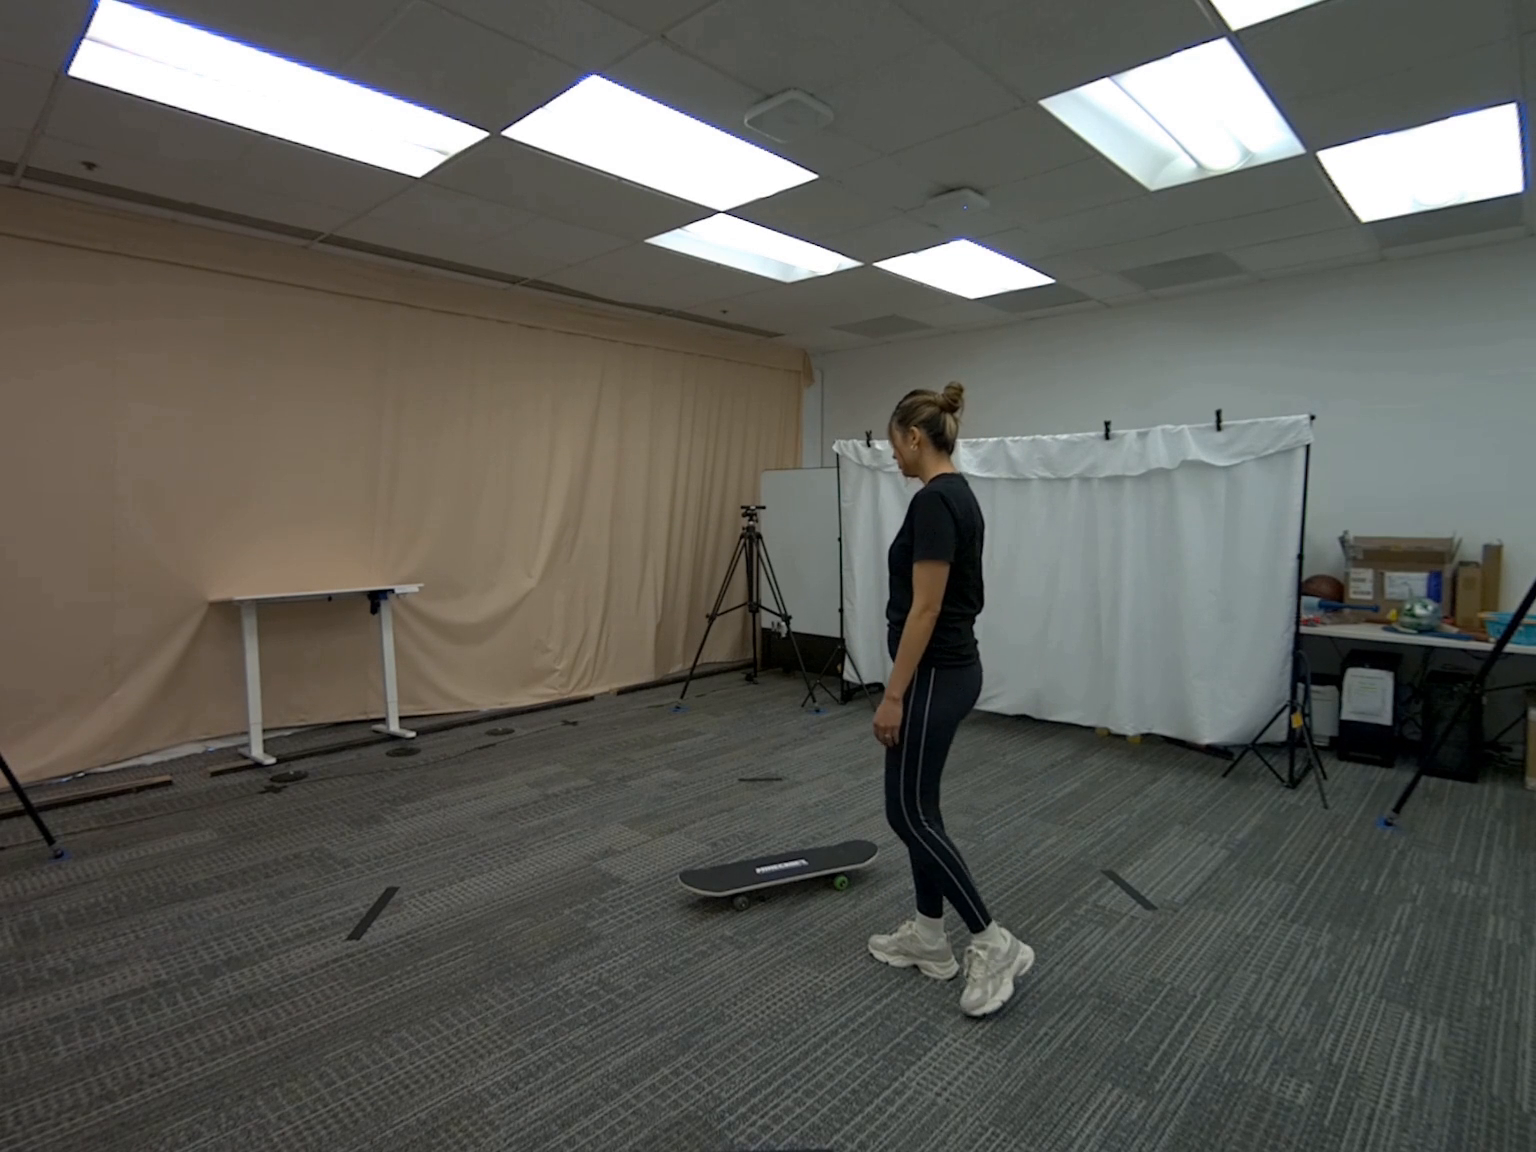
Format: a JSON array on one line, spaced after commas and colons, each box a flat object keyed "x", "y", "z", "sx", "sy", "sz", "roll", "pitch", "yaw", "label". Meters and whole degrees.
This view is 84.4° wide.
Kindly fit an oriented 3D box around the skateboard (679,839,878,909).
[{"x": 0.055, "y": 1.080, "z": 3.039, "sx": 0.768, "sy": 0.110, "sz": 0.198, "roll": -2, "pitch": 6, "yaw": -23, "label": "skateboard"}]
